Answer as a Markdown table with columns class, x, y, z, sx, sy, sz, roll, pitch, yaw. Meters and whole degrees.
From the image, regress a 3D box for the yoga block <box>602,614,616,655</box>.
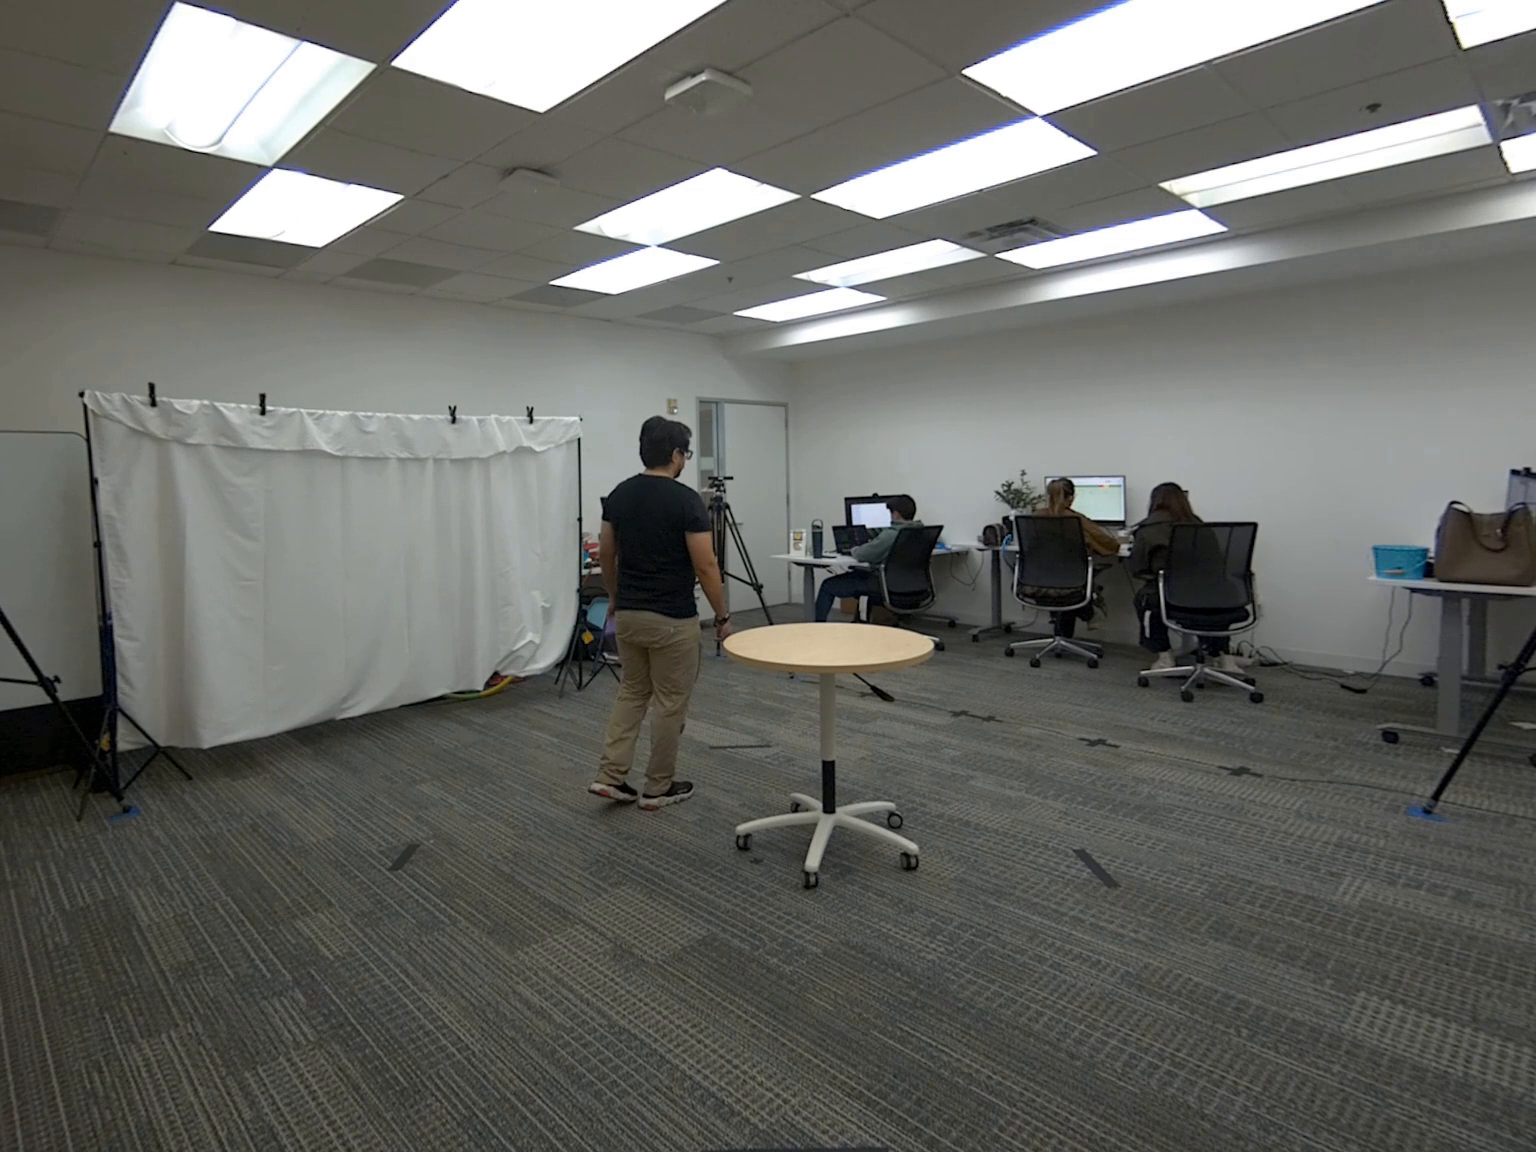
| class | x | y | z | sx | sy | sz | roll | pitch | yaw |
| --- | --- | --- | --- | --- | --- | --- | --- | --- | --- |
| yoga block | -0.658 | 0.293 | 3.924 | 0.077 | 0.222 | 0.152 | -15 | 34 | 16 |
